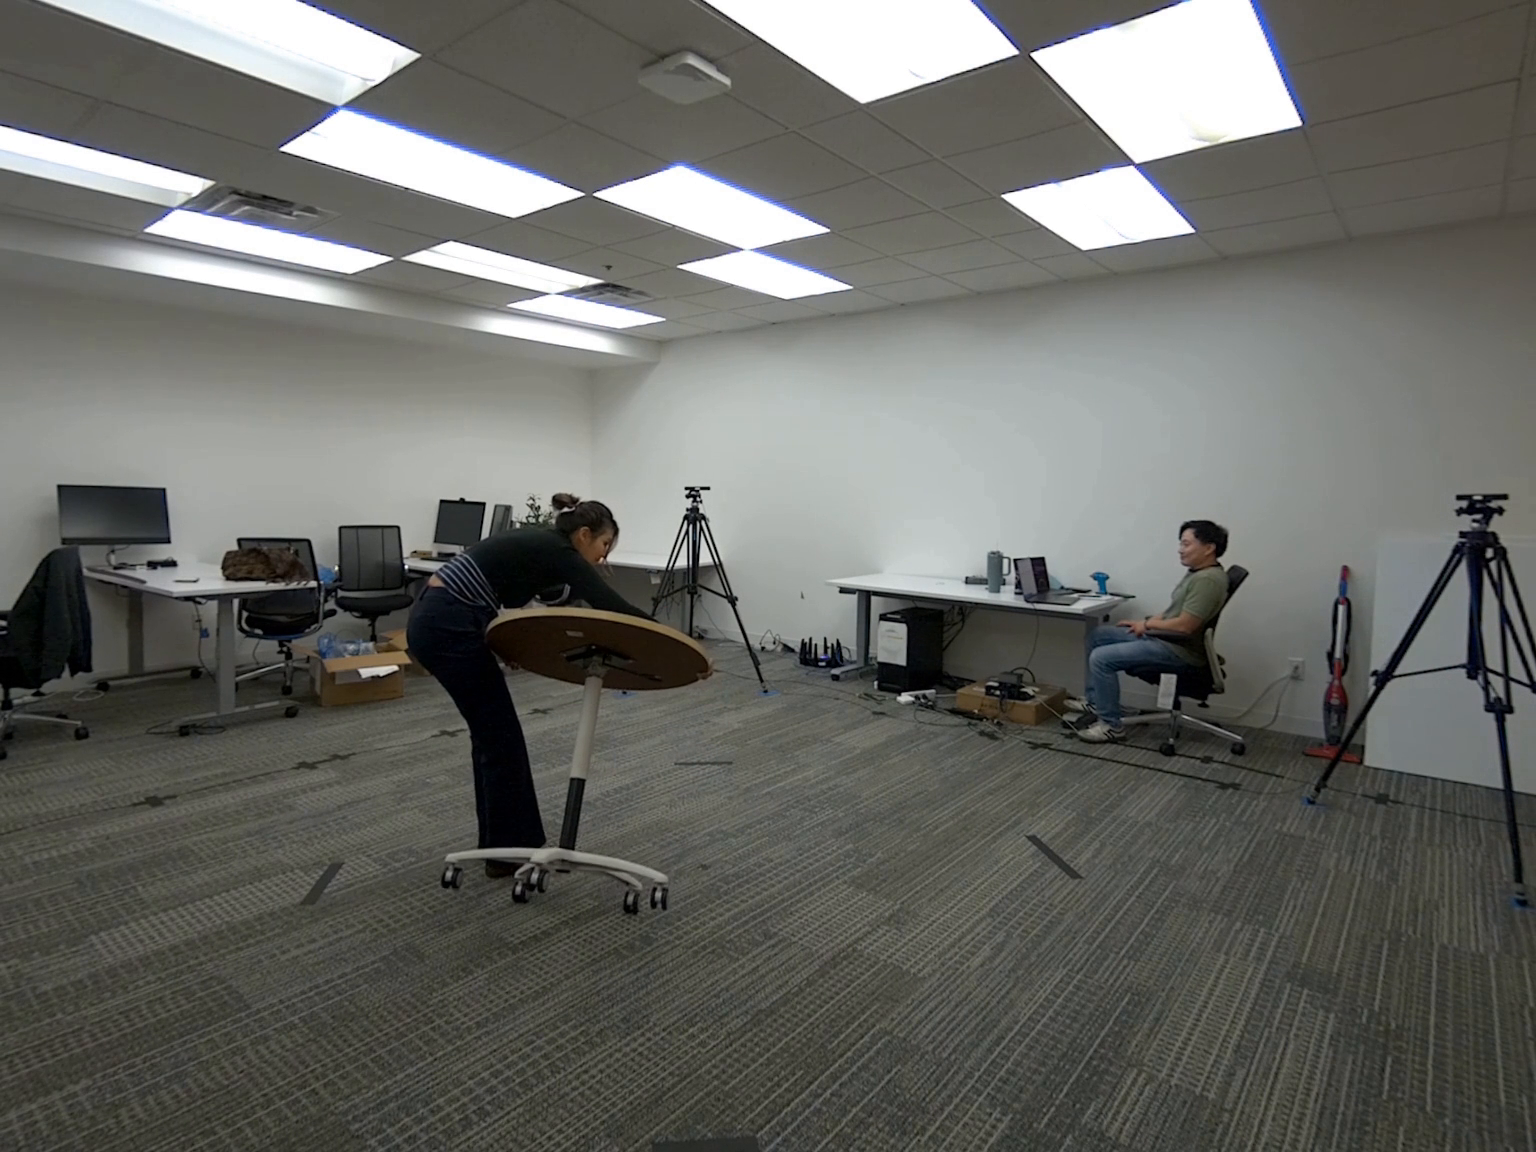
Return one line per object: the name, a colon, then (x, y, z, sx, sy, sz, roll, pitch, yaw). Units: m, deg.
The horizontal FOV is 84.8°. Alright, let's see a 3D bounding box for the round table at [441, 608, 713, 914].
round table: (-0.613, 0.616, 2.736, 0.765, 0.810, 0.748, 5, -25, 0)
